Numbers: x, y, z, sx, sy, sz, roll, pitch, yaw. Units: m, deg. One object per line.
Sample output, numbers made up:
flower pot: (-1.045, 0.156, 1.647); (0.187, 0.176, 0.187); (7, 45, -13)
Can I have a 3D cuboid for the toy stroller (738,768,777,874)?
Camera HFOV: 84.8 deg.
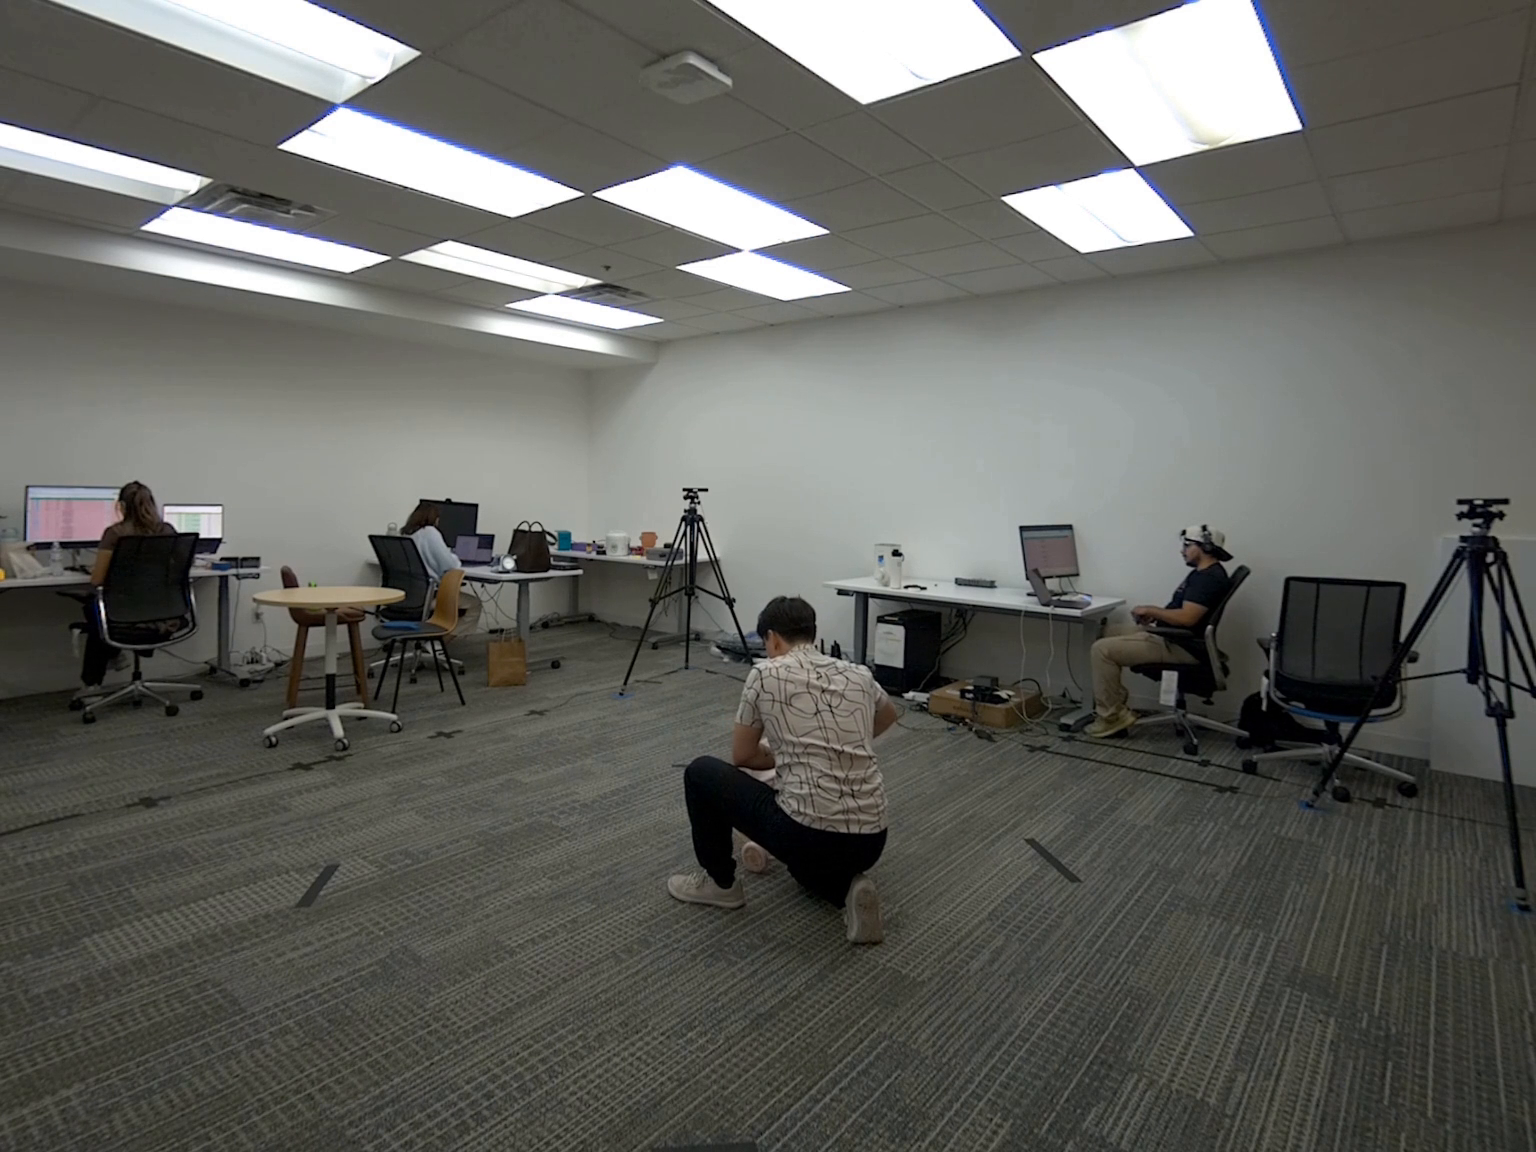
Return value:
toy stroller: (-0.033, 0.831, 3.218); (0.355, 0.529, 0.273); (26, 20, 38)
